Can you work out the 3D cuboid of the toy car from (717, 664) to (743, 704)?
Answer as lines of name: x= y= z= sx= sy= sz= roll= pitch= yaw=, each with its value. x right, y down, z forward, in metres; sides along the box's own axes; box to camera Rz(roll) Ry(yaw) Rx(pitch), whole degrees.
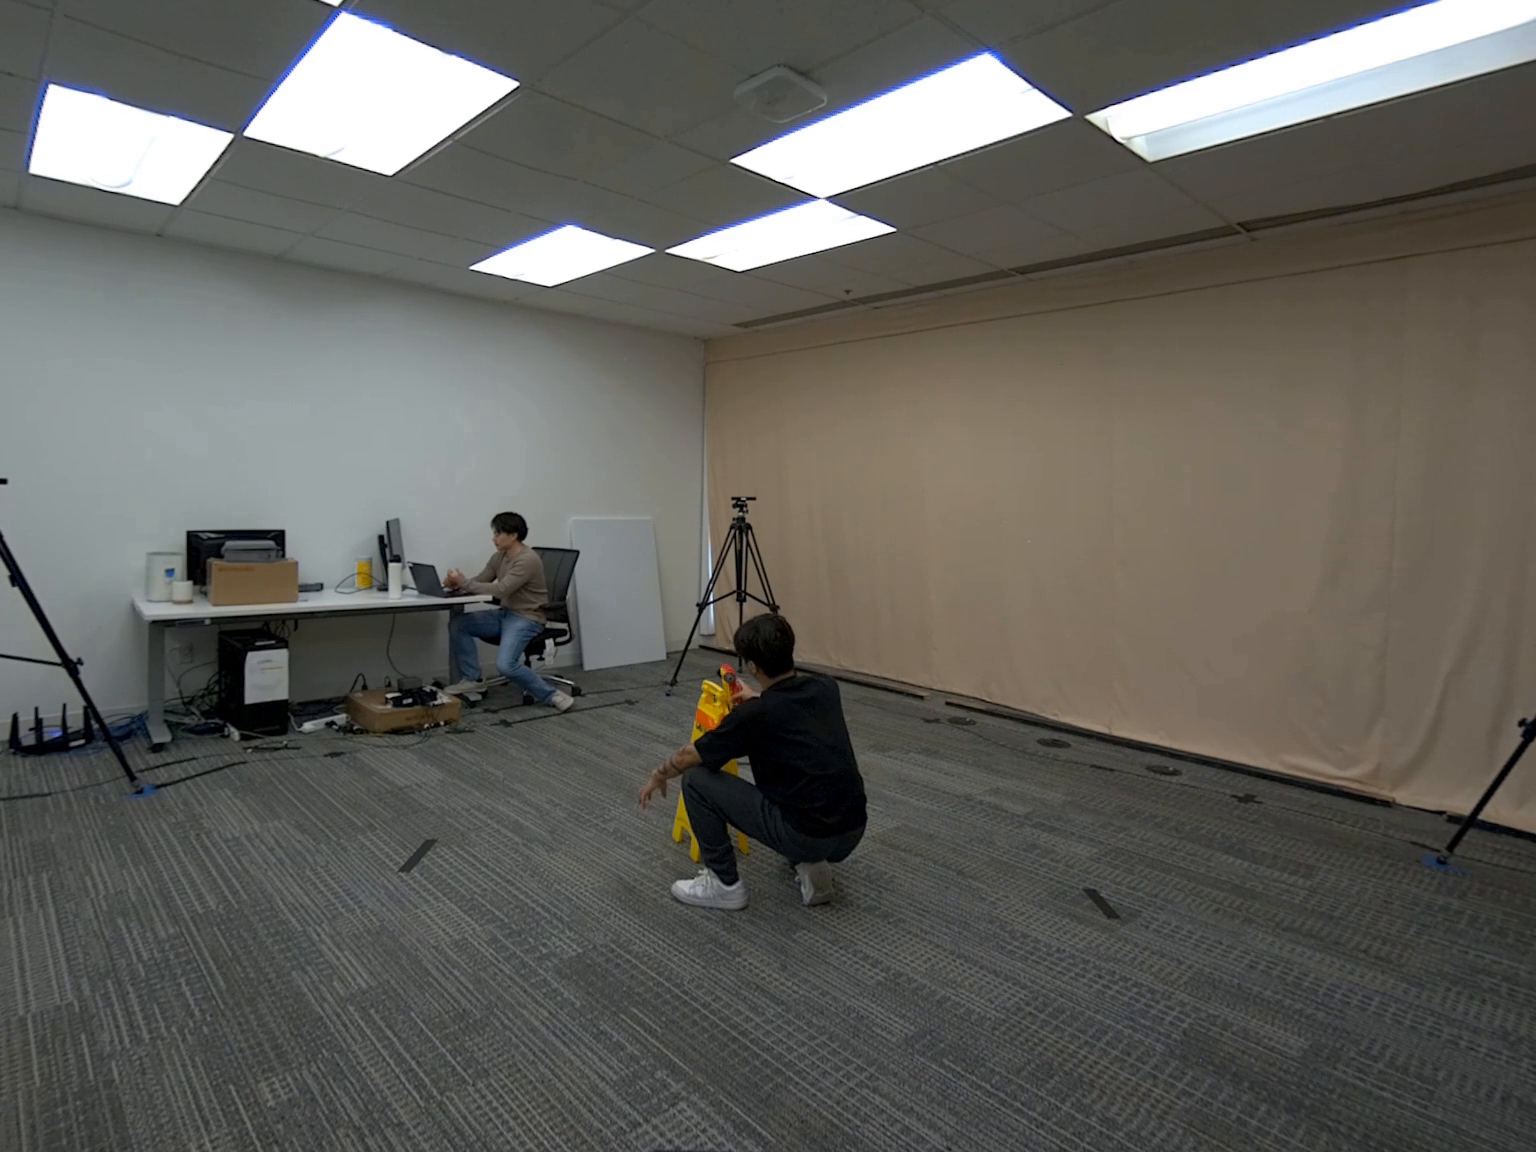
toy car: x=-0.150 y=0.510 z=3.436 sx=0.083 sy=0.251 sz=0.132 roll=-27 pitch=13 yaw=-14
